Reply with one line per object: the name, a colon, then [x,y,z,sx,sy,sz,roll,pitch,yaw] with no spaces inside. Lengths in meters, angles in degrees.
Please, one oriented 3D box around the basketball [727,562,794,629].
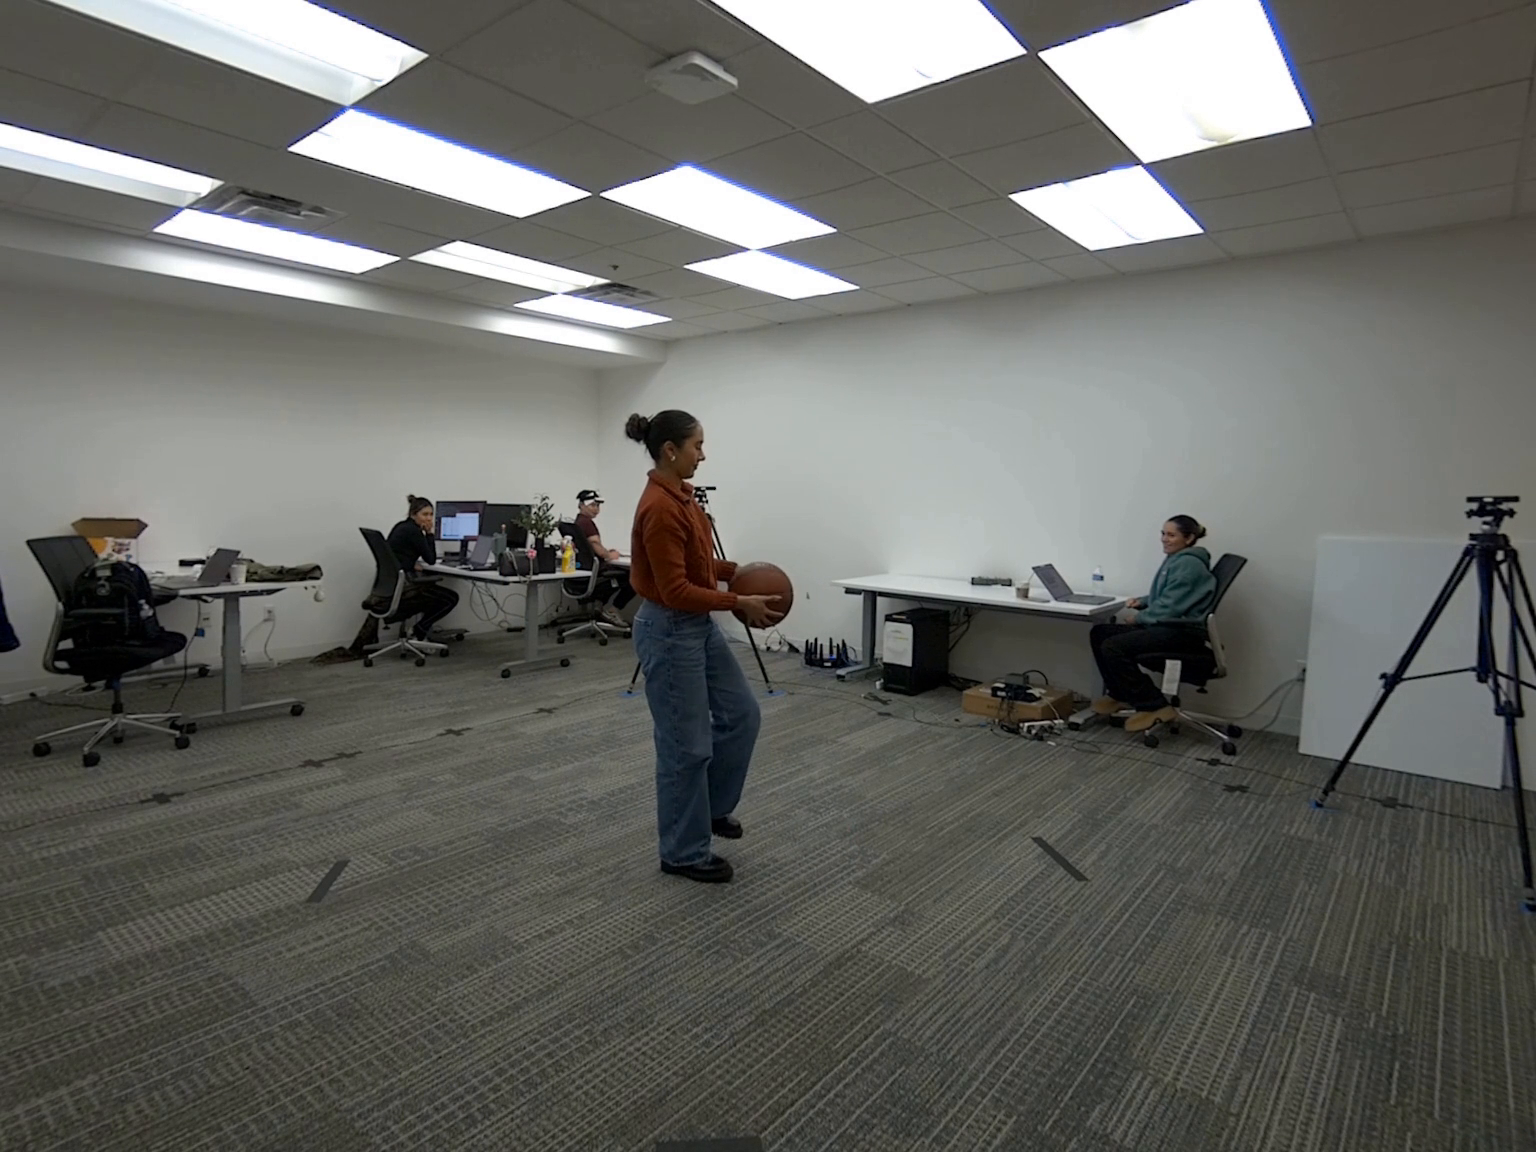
basketball: [-0.036,0.064,3.027,0.236,0.235,0.237,1,4,-2]
